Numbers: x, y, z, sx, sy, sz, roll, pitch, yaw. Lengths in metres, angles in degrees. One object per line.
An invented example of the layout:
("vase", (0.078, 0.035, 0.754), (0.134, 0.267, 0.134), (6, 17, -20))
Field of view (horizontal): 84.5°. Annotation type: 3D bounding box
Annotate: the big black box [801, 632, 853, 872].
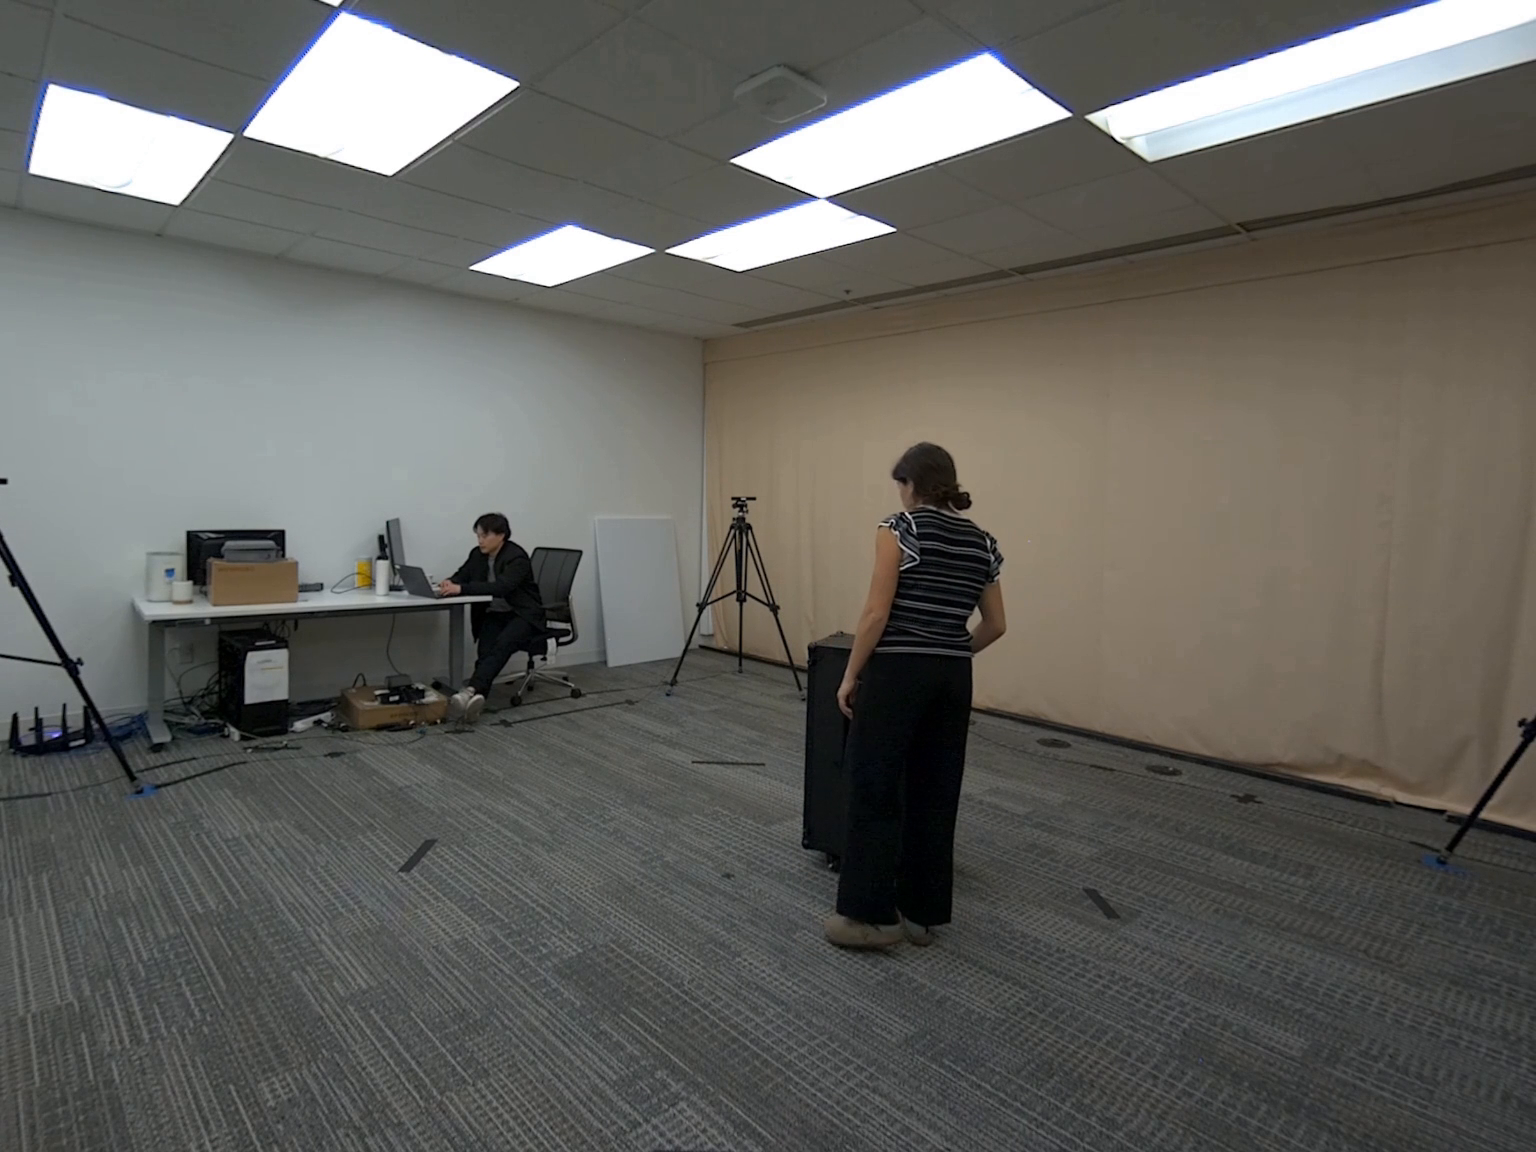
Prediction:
("big black box", (0.422, 0.687, 3.218), (0.531, 0.859, 0.389), (4, 4, 25))
